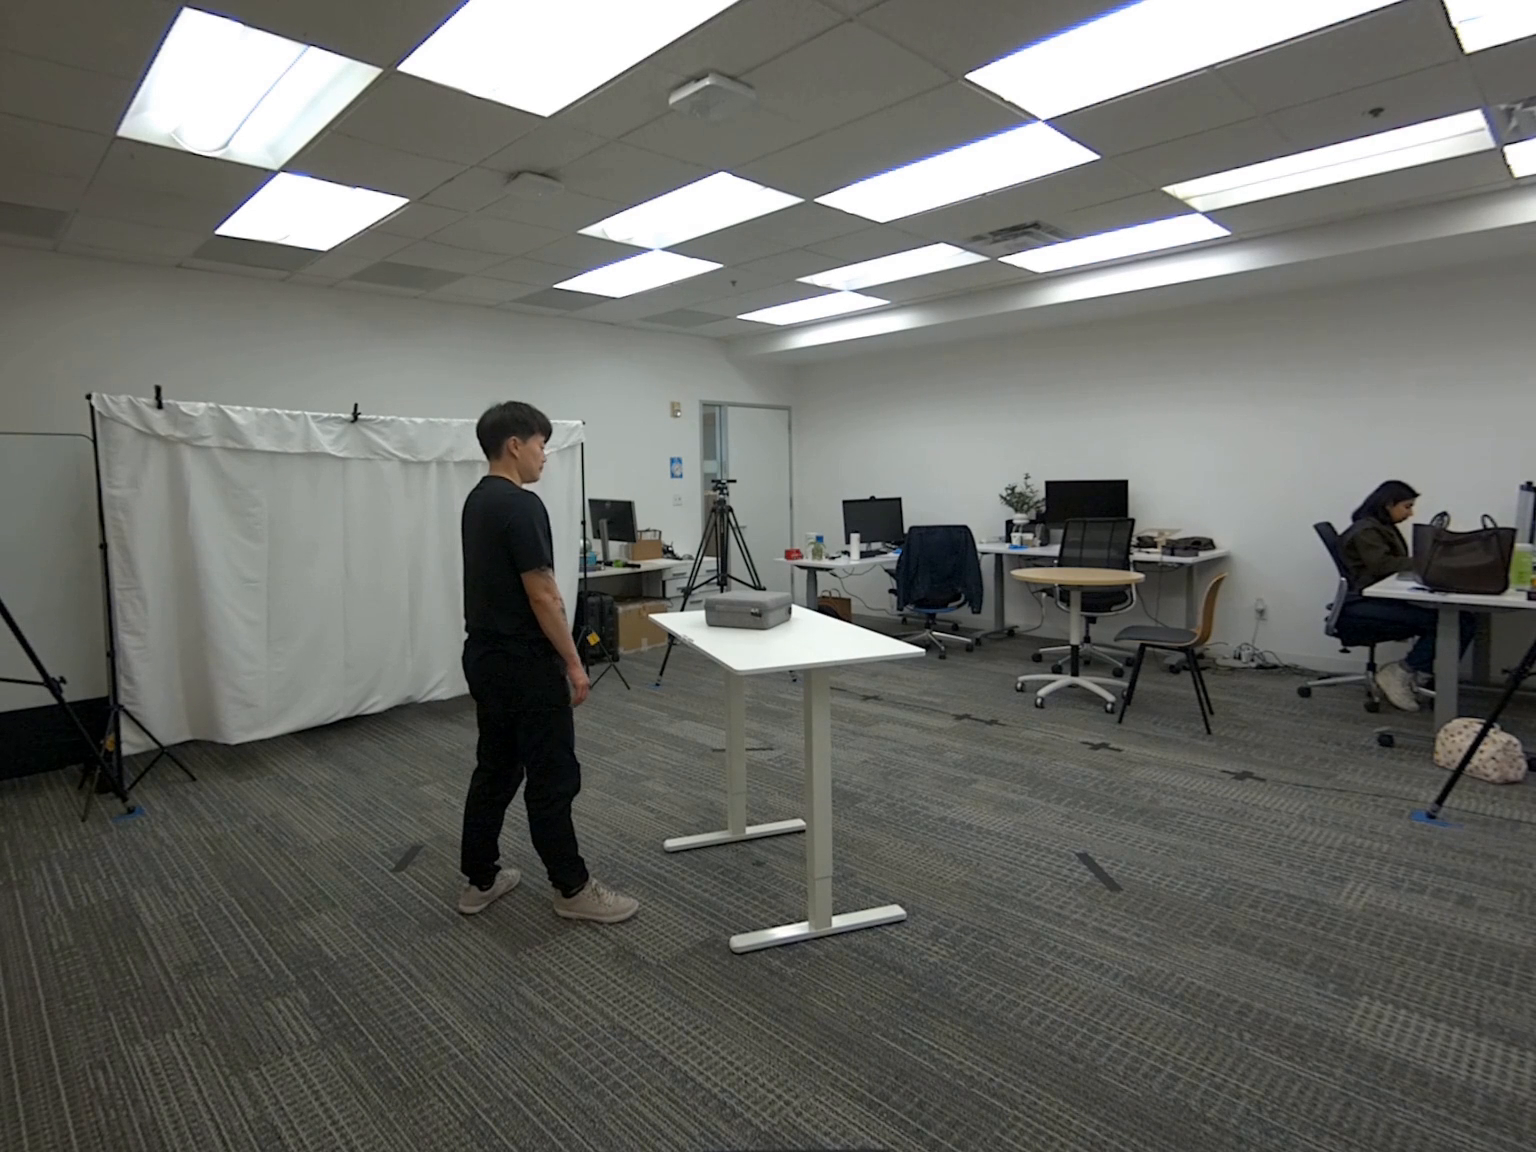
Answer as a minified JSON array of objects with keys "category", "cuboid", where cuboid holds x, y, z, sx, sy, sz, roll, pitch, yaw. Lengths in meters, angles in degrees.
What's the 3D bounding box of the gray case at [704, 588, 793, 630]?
[{"category":"gray case","cuboid":[-0.063,0.115,3.070,0.263,0.104,0.256,1,6,24]}]
